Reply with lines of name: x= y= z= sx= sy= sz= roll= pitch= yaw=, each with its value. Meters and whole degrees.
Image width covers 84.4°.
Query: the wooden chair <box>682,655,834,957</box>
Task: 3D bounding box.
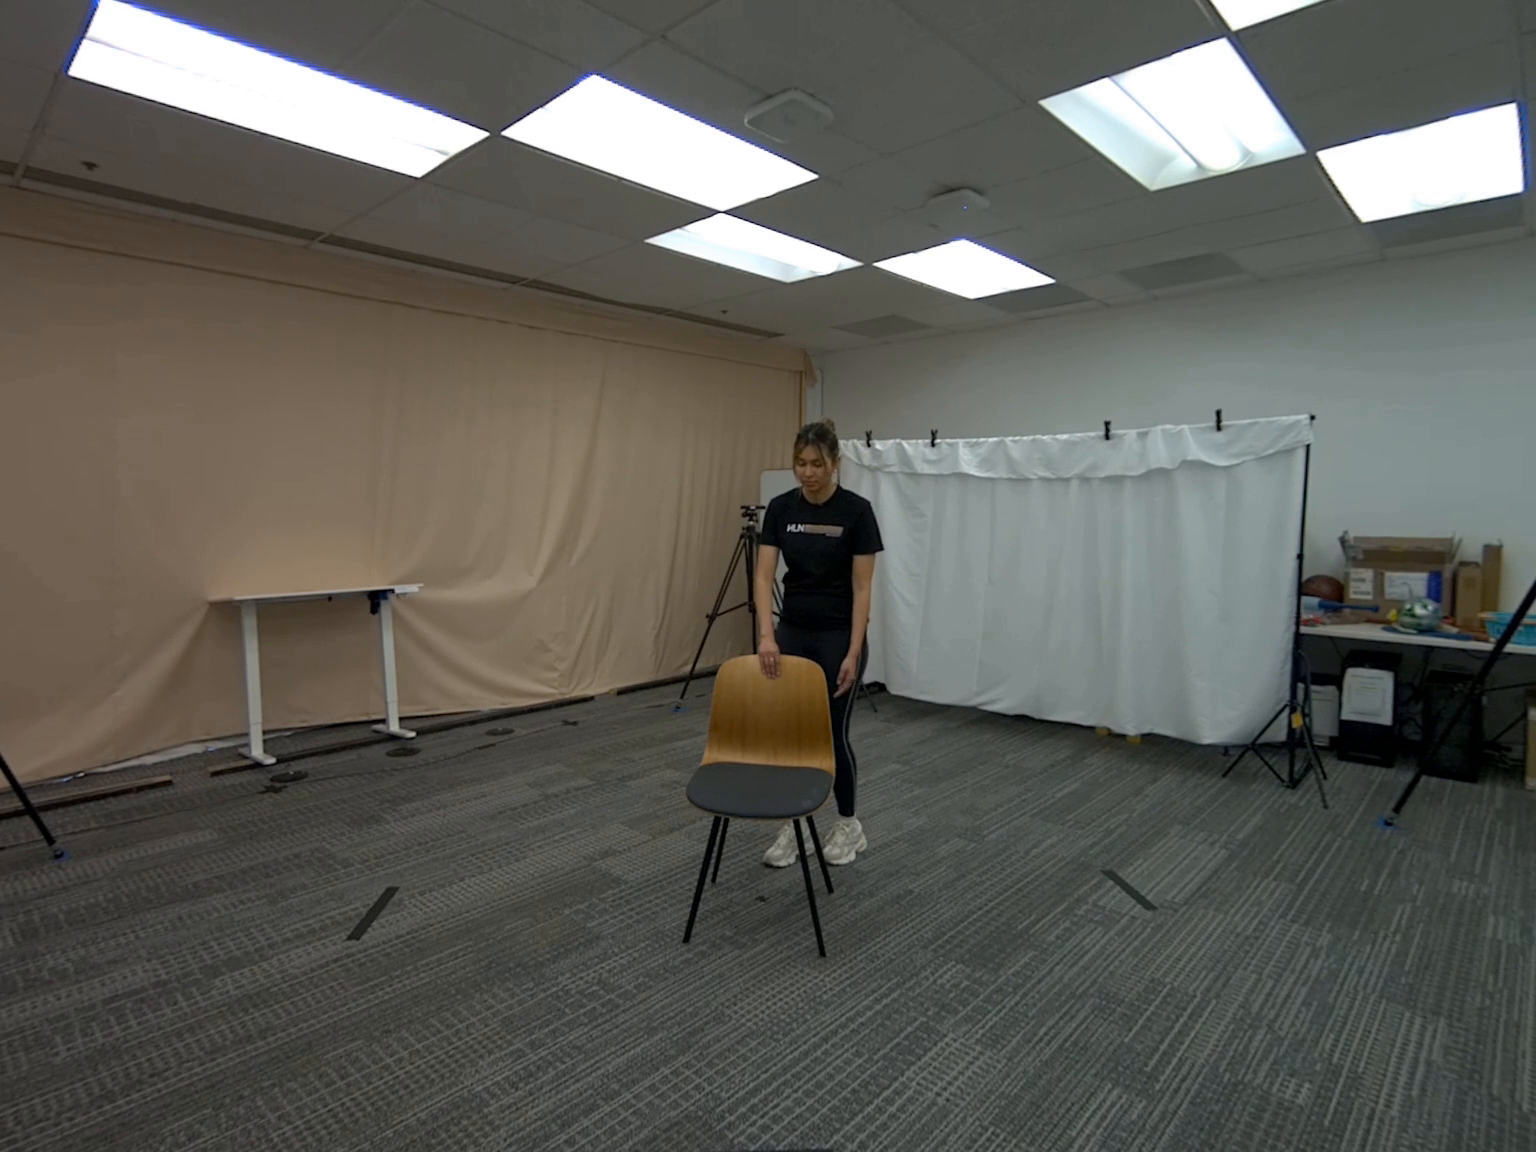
wooden chair: x=-0.014 y=0.730 z=2.817 sx=0.484 sy=0.878 sz=0.517 roll=1 pitch=-1 yaw=10
